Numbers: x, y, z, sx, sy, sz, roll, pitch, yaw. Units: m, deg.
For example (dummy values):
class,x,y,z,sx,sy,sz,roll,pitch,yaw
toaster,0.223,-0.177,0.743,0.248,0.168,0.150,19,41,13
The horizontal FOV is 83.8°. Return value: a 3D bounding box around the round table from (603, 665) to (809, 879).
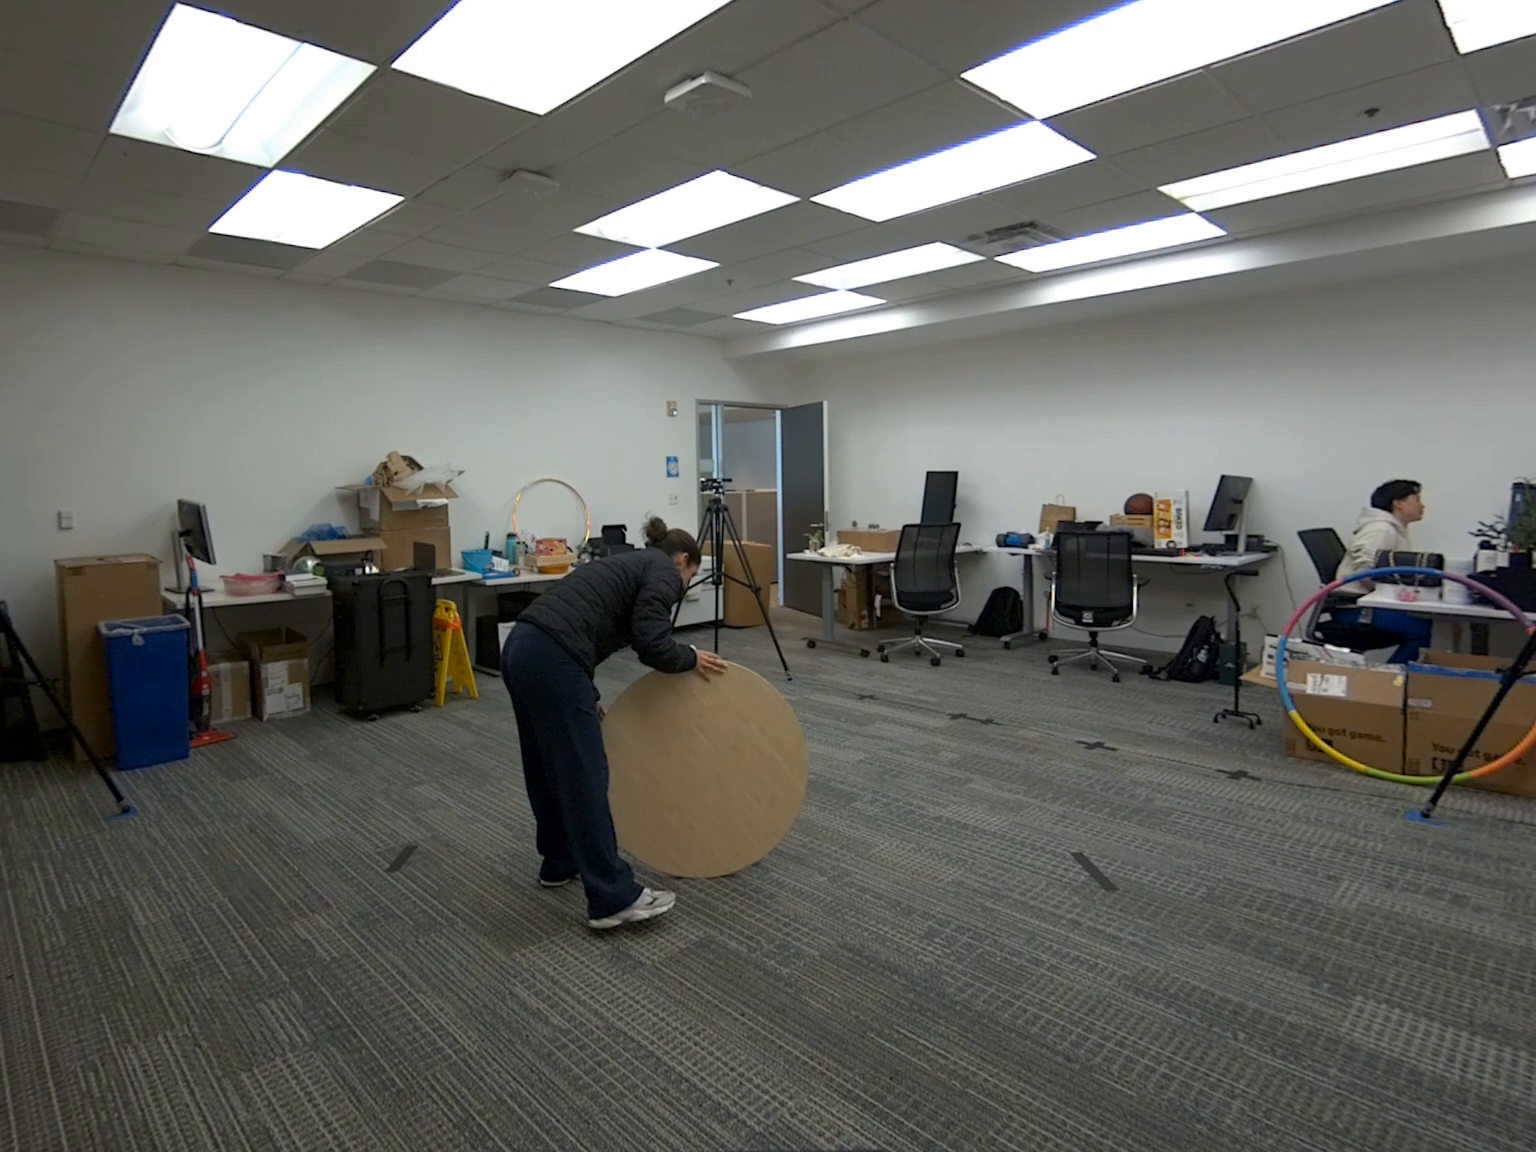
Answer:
class,x,y,z,sx,sy,sz,roll,pitch,yaw
round table,-0.275,0.674,3.413,0.783,0.786,0.788,-1,0,-3
